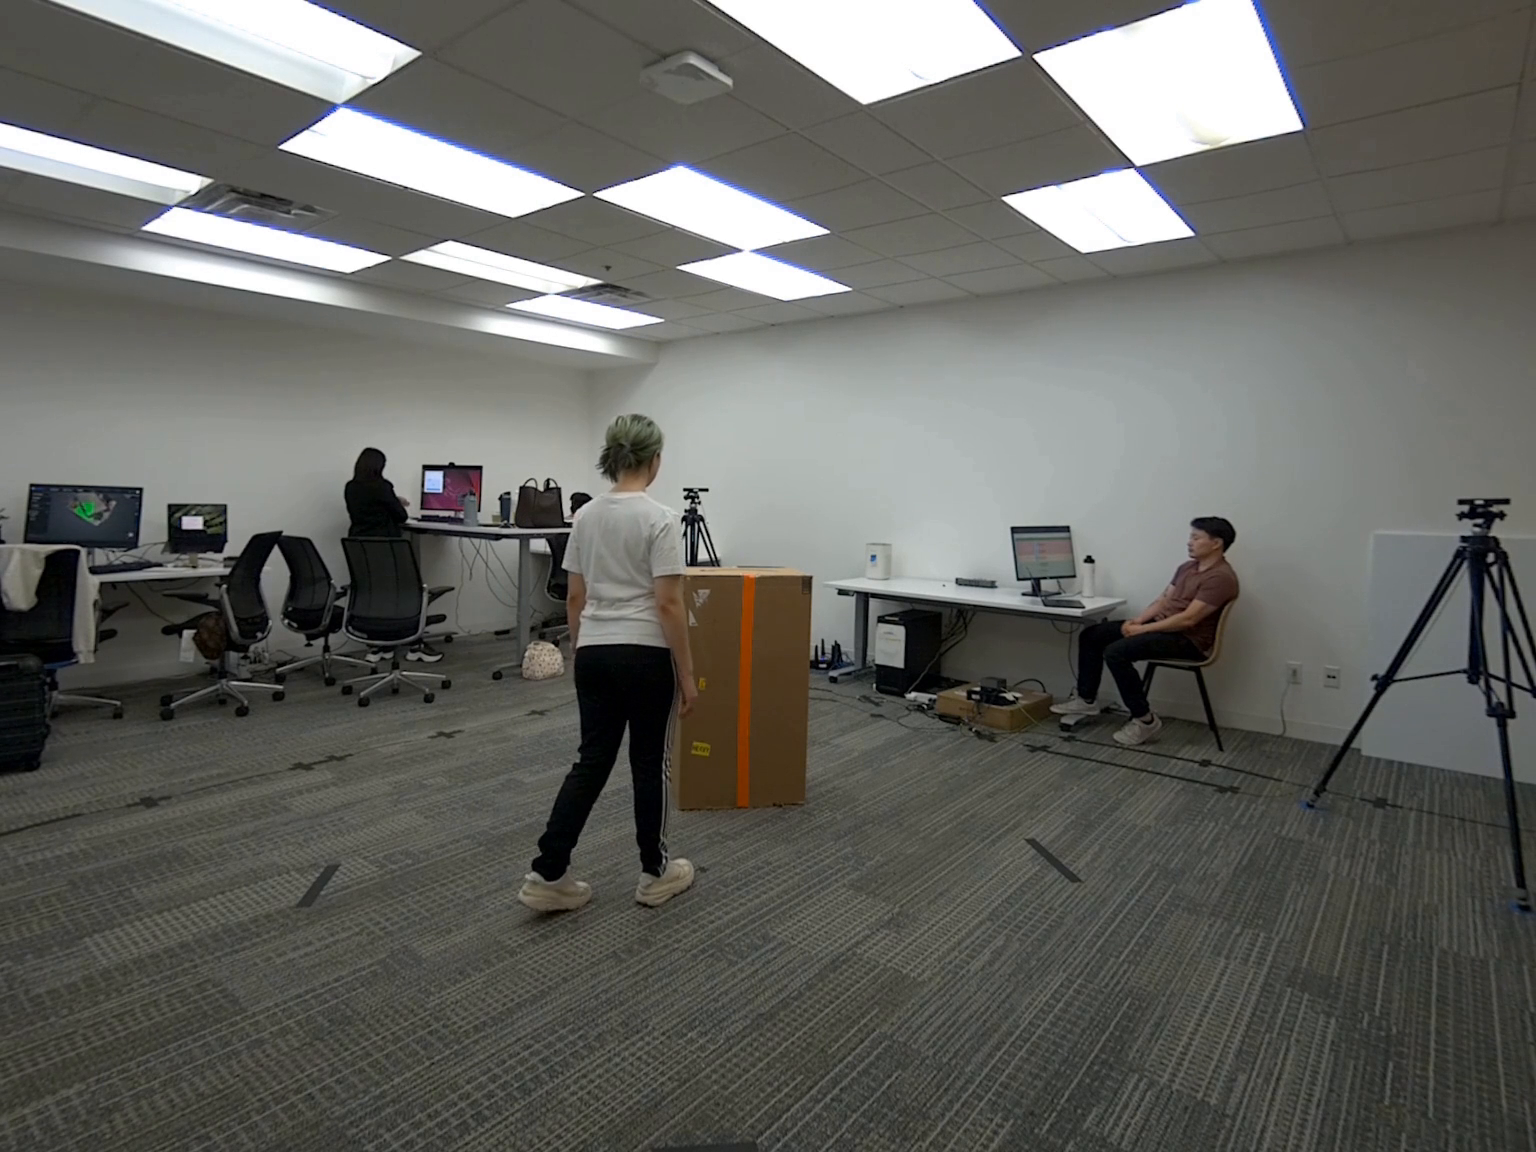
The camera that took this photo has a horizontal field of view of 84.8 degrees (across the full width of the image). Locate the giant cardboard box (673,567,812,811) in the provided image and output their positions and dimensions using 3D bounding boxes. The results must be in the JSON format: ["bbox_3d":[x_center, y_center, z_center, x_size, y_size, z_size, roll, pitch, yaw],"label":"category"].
[{"bbox_3d":[-0.156,0.486,3.913,0.576,1.025,0.454,1,2,-13],"label":"giant cardboard box"}]
